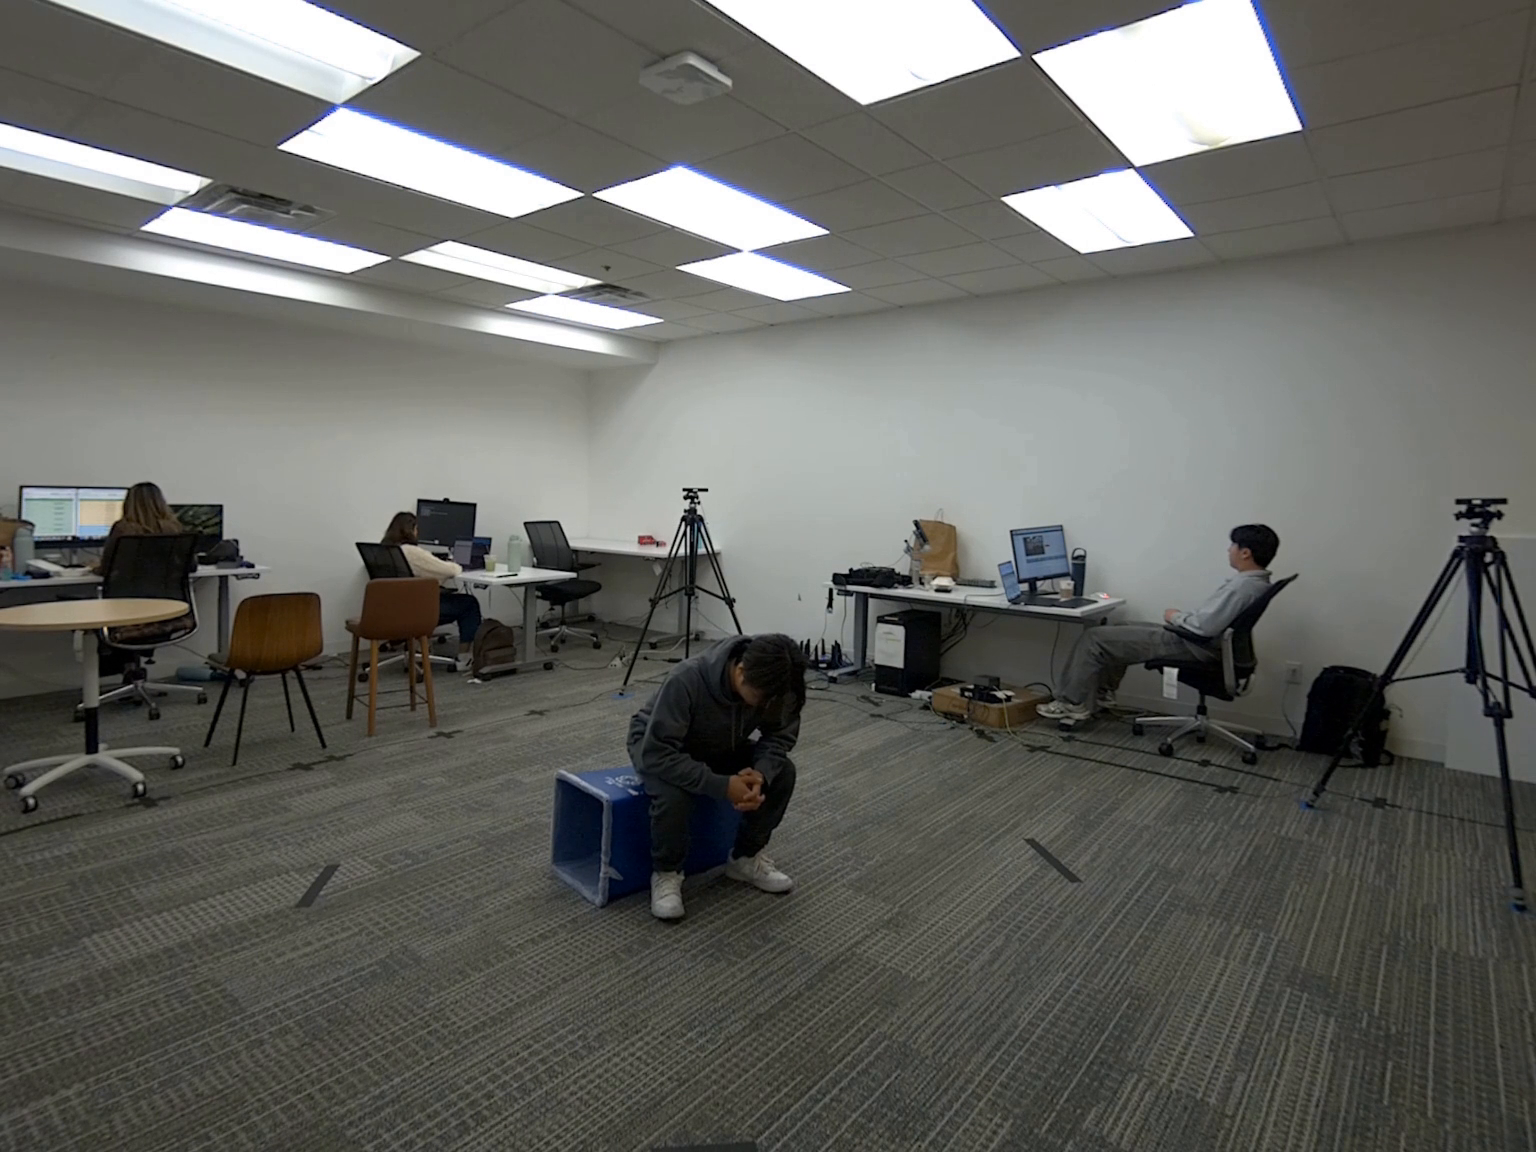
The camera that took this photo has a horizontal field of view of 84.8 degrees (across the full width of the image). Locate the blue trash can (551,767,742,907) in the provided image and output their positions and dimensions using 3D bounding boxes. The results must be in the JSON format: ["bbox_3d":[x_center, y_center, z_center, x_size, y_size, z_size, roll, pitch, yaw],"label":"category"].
[{"bbox_3d":[-0.413,0.893,3.156,0.691,0.378,0.387,1,3,-41],"label":"blue trash can"}]
